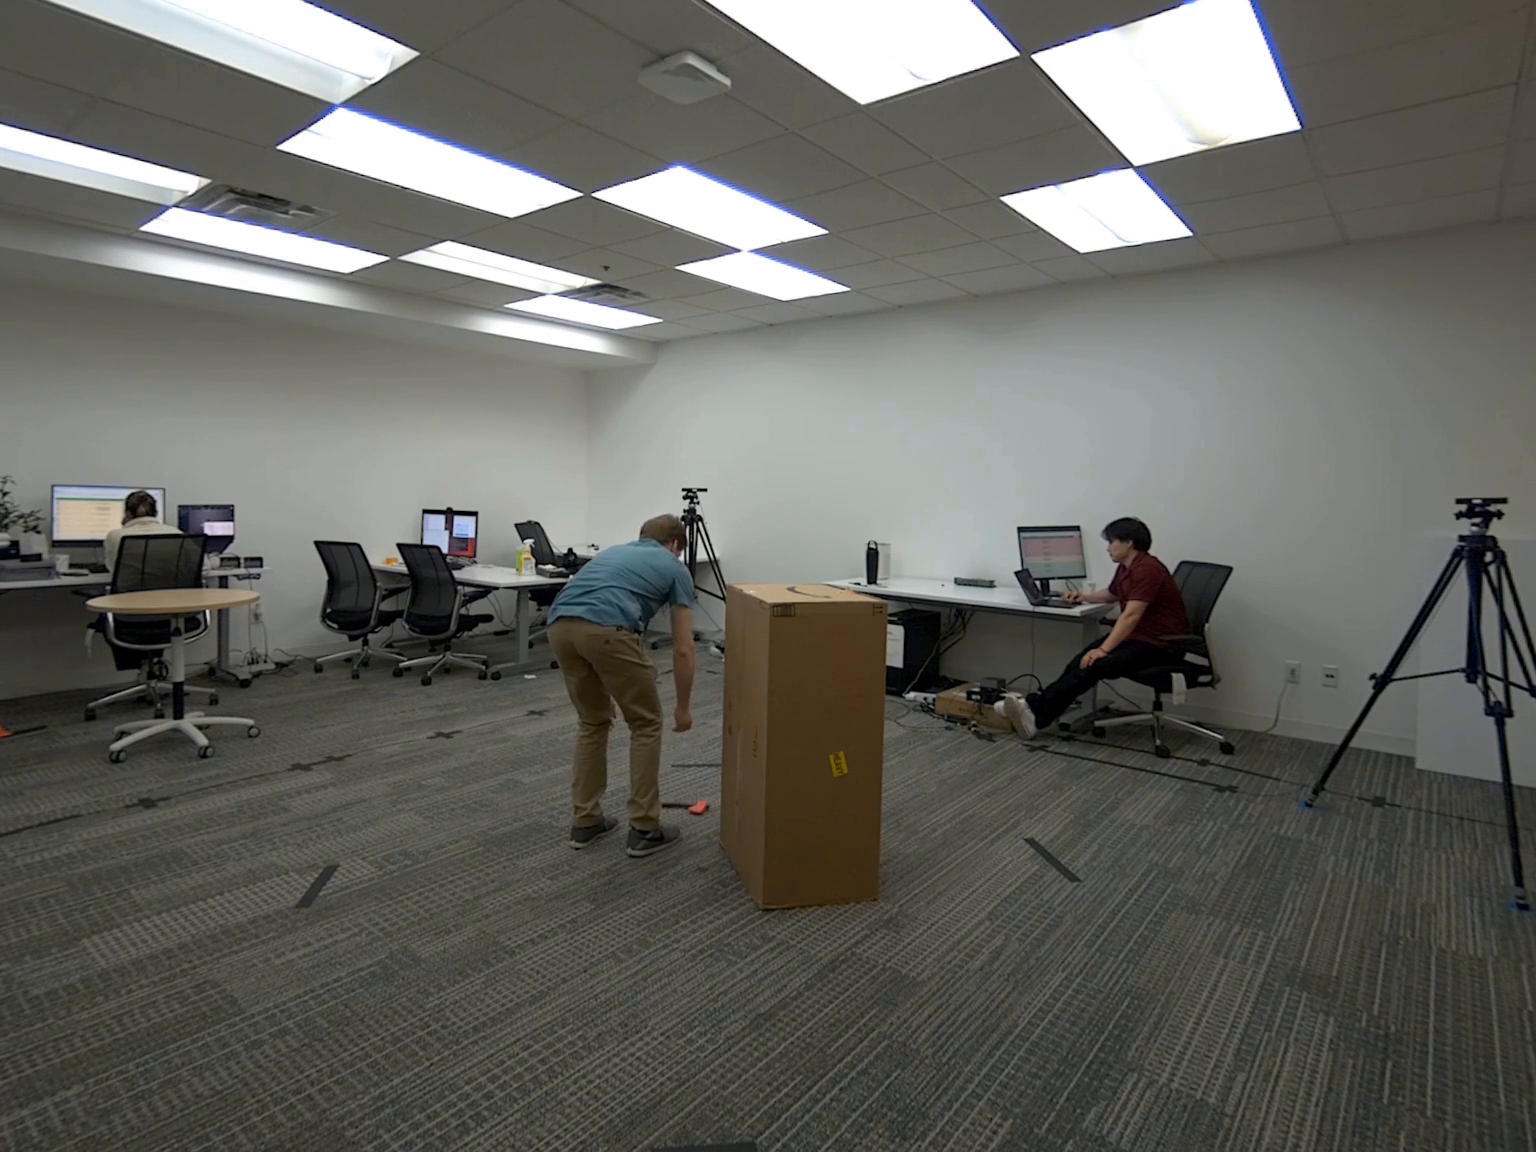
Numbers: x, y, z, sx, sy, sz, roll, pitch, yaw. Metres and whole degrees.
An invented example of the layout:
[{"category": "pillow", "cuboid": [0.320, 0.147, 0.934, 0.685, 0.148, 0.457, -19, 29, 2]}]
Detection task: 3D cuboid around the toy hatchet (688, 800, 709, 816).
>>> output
[{"category": "toy hatchet", "cuboid": [-0.400, 1.000, 3.679, 0.268, 0.029, 0.133, -2, 10, -8]}]
